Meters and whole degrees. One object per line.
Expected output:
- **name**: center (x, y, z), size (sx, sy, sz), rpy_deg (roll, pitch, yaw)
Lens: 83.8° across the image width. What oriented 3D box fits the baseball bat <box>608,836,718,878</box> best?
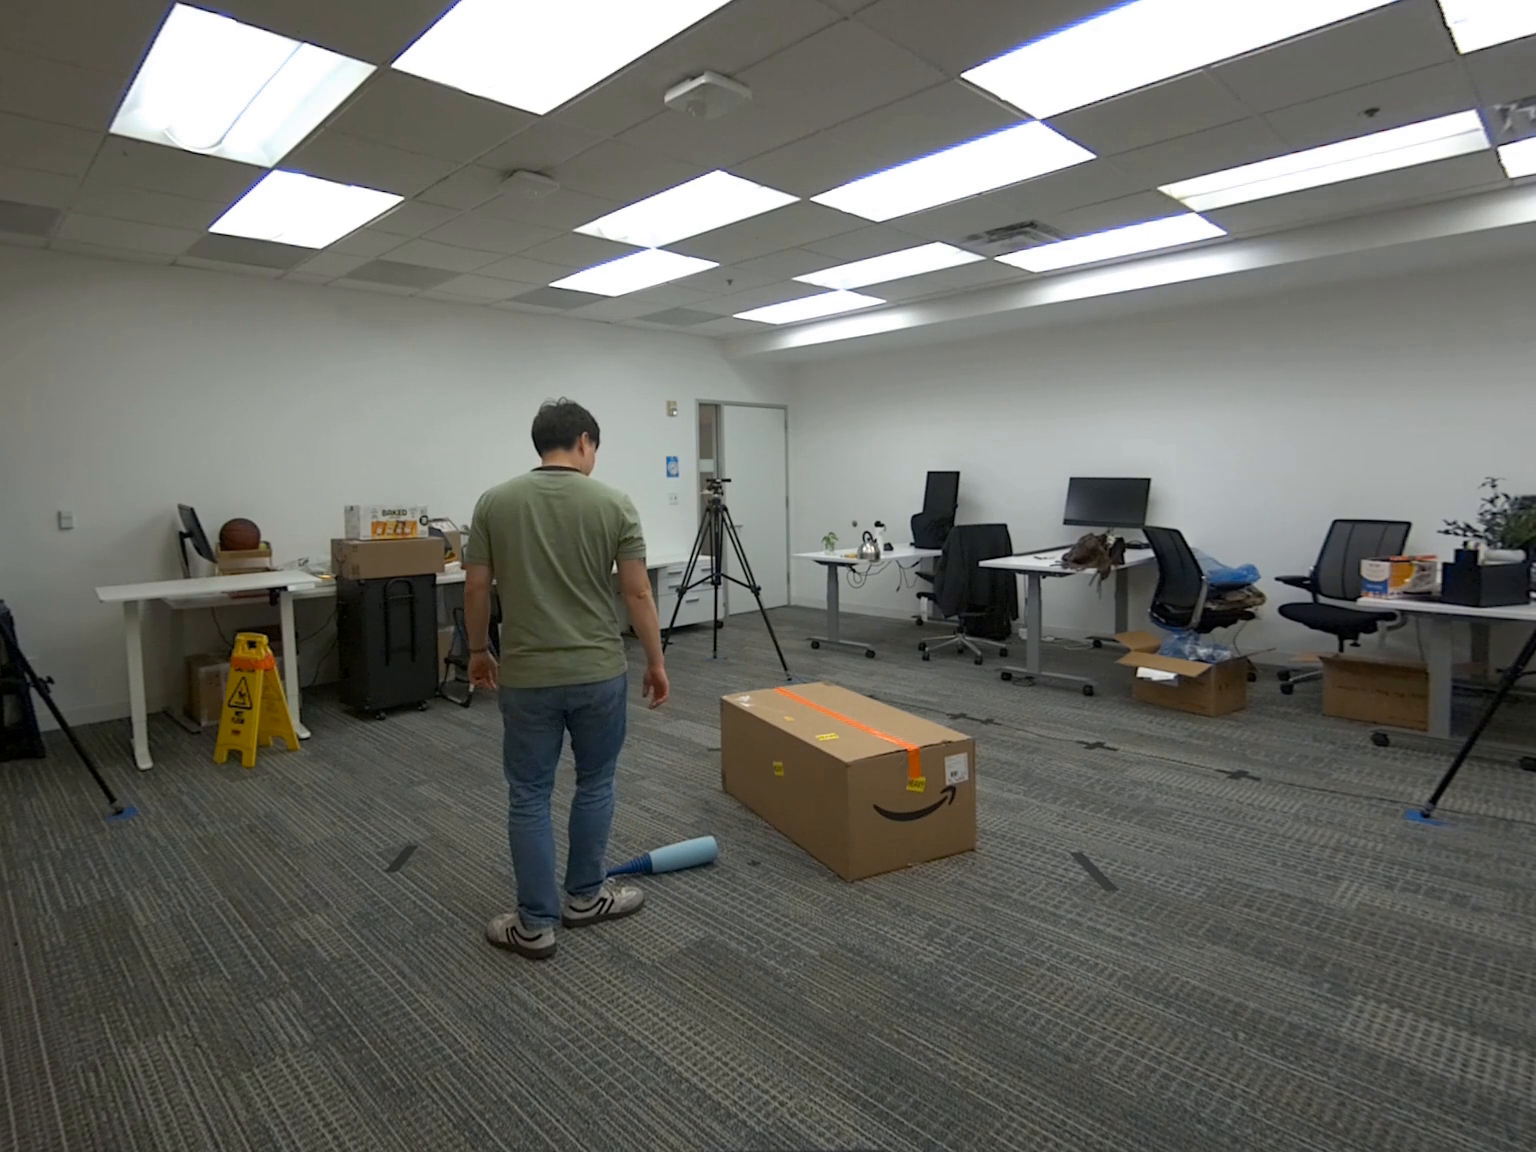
- **baseball bat**: center (-0.436, 1.025, 3.026), size (0.534, 0.088, 0.091), rpy_deg (-7, 6, -19)
